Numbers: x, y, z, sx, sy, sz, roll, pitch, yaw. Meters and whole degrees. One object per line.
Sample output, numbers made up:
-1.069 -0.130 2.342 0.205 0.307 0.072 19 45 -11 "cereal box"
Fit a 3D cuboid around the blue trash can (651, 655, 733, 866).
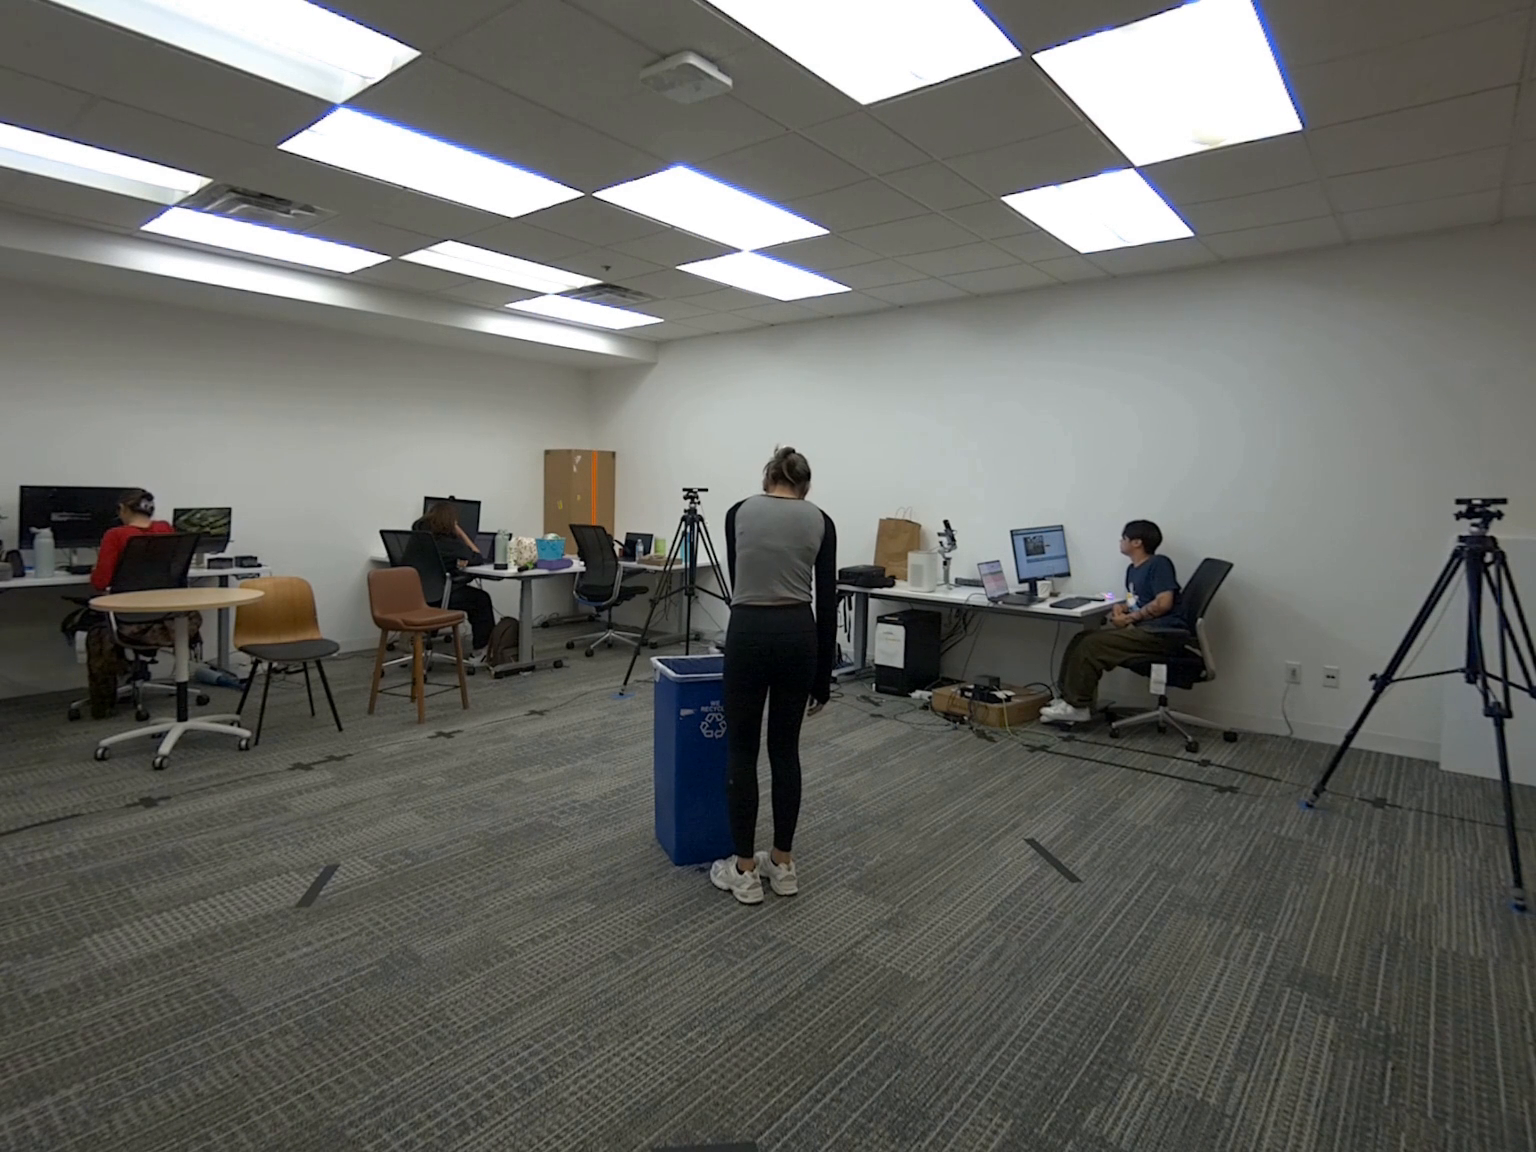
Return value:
-0.258 0.691 3.303 0.366 0.711 0.387 0 4 -21 "blue trash can"
